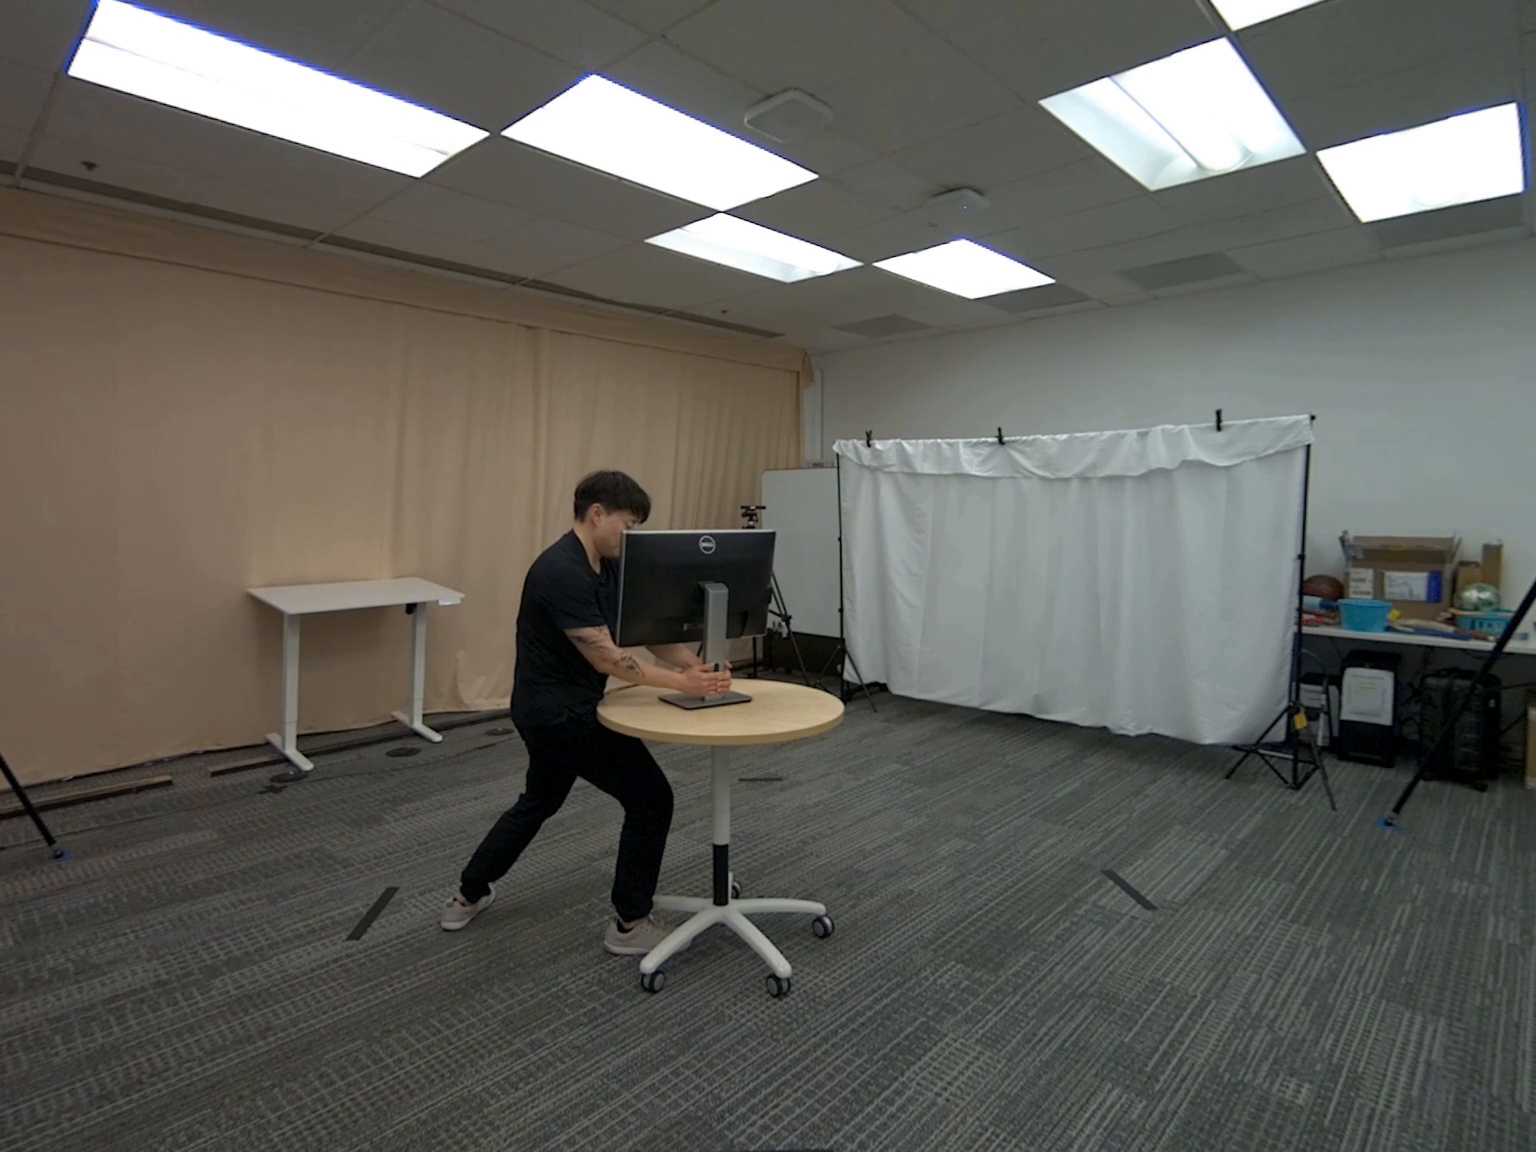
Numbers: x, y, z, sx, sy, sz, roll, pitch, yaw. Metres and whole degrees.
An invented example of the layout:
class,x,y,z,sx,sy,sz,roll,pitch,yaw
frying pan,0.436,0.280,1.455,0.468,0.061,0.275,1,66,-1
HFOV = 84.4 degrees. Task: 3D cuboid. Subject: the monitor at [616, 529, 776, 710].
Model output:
class,x,y,z,sx,sy,sz,roll,pitch,yaw
monitor,-0.199,0.130,2.651,0.524,0.522,0.193,-2,2,-34
